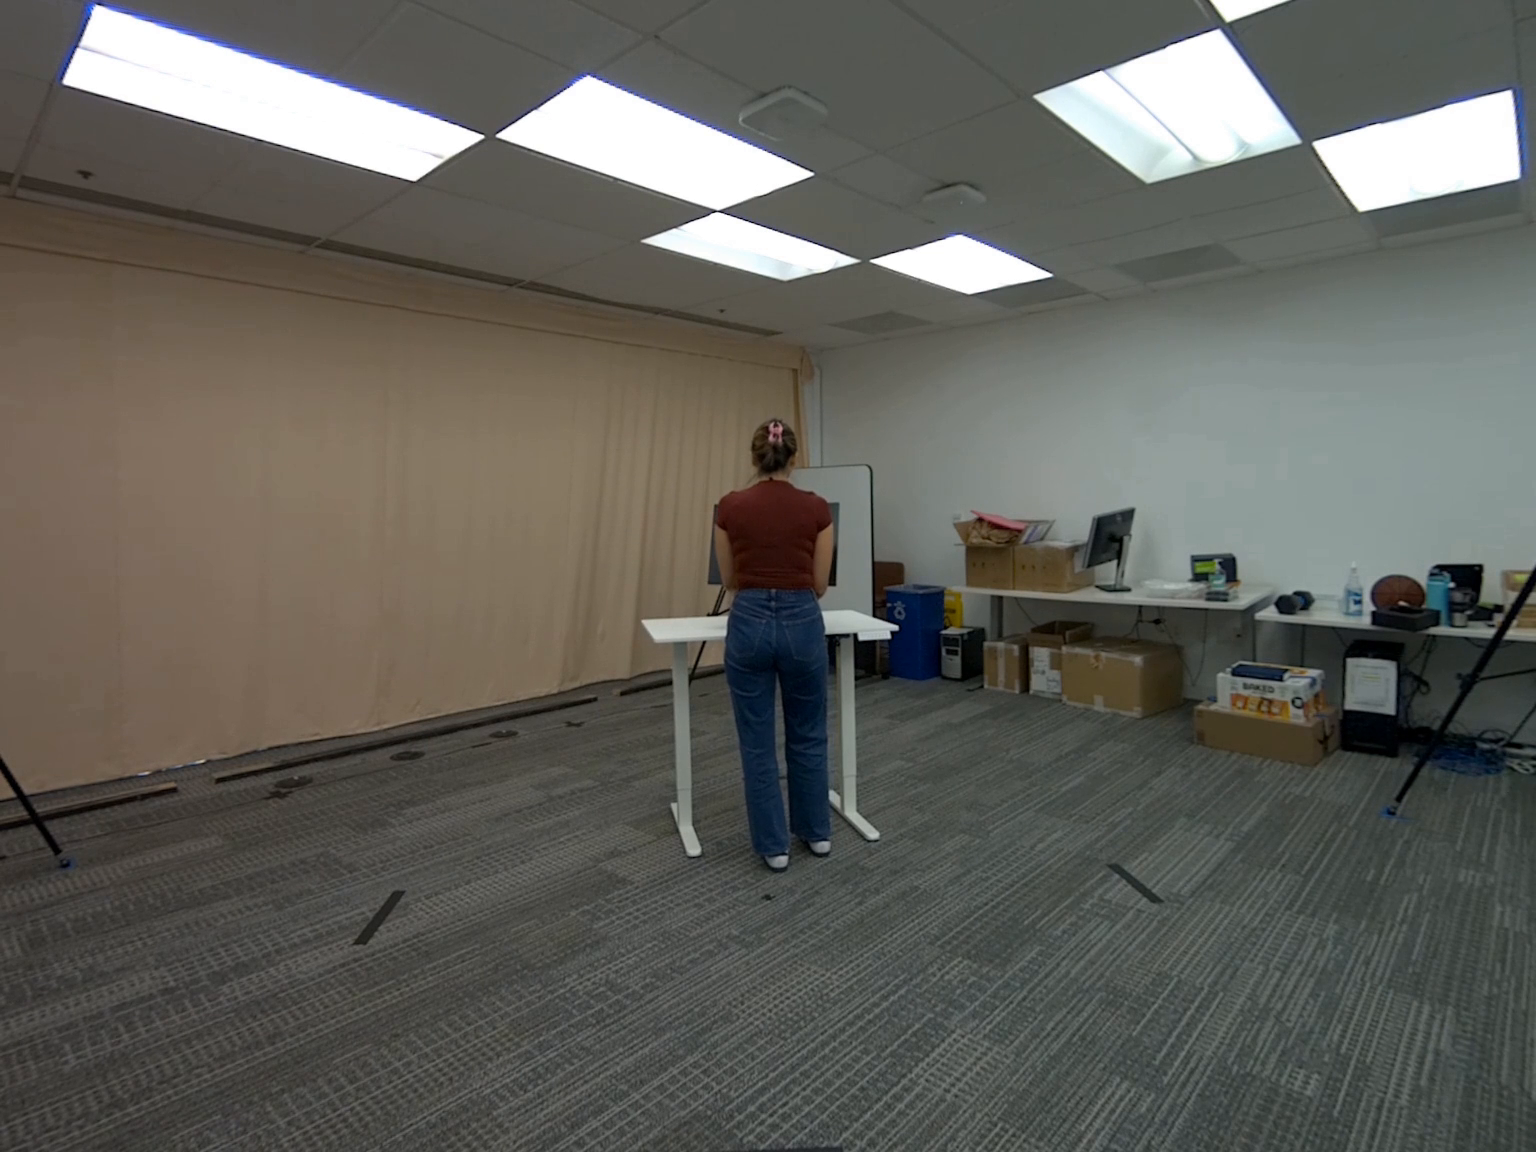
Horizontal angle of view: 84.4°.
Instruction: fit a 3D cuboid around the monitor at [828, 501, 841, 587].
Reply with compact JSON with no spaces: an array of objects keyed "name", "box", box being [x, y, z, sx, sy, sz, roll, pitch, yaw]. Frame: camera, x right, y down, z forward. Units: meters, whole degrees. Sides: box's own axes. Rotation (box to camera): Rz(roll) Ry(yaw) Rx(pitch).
[{"name":"monitor","box":[0.038,-0.042,3.512,0.547,0.522,0.184,1,0,14]}]
